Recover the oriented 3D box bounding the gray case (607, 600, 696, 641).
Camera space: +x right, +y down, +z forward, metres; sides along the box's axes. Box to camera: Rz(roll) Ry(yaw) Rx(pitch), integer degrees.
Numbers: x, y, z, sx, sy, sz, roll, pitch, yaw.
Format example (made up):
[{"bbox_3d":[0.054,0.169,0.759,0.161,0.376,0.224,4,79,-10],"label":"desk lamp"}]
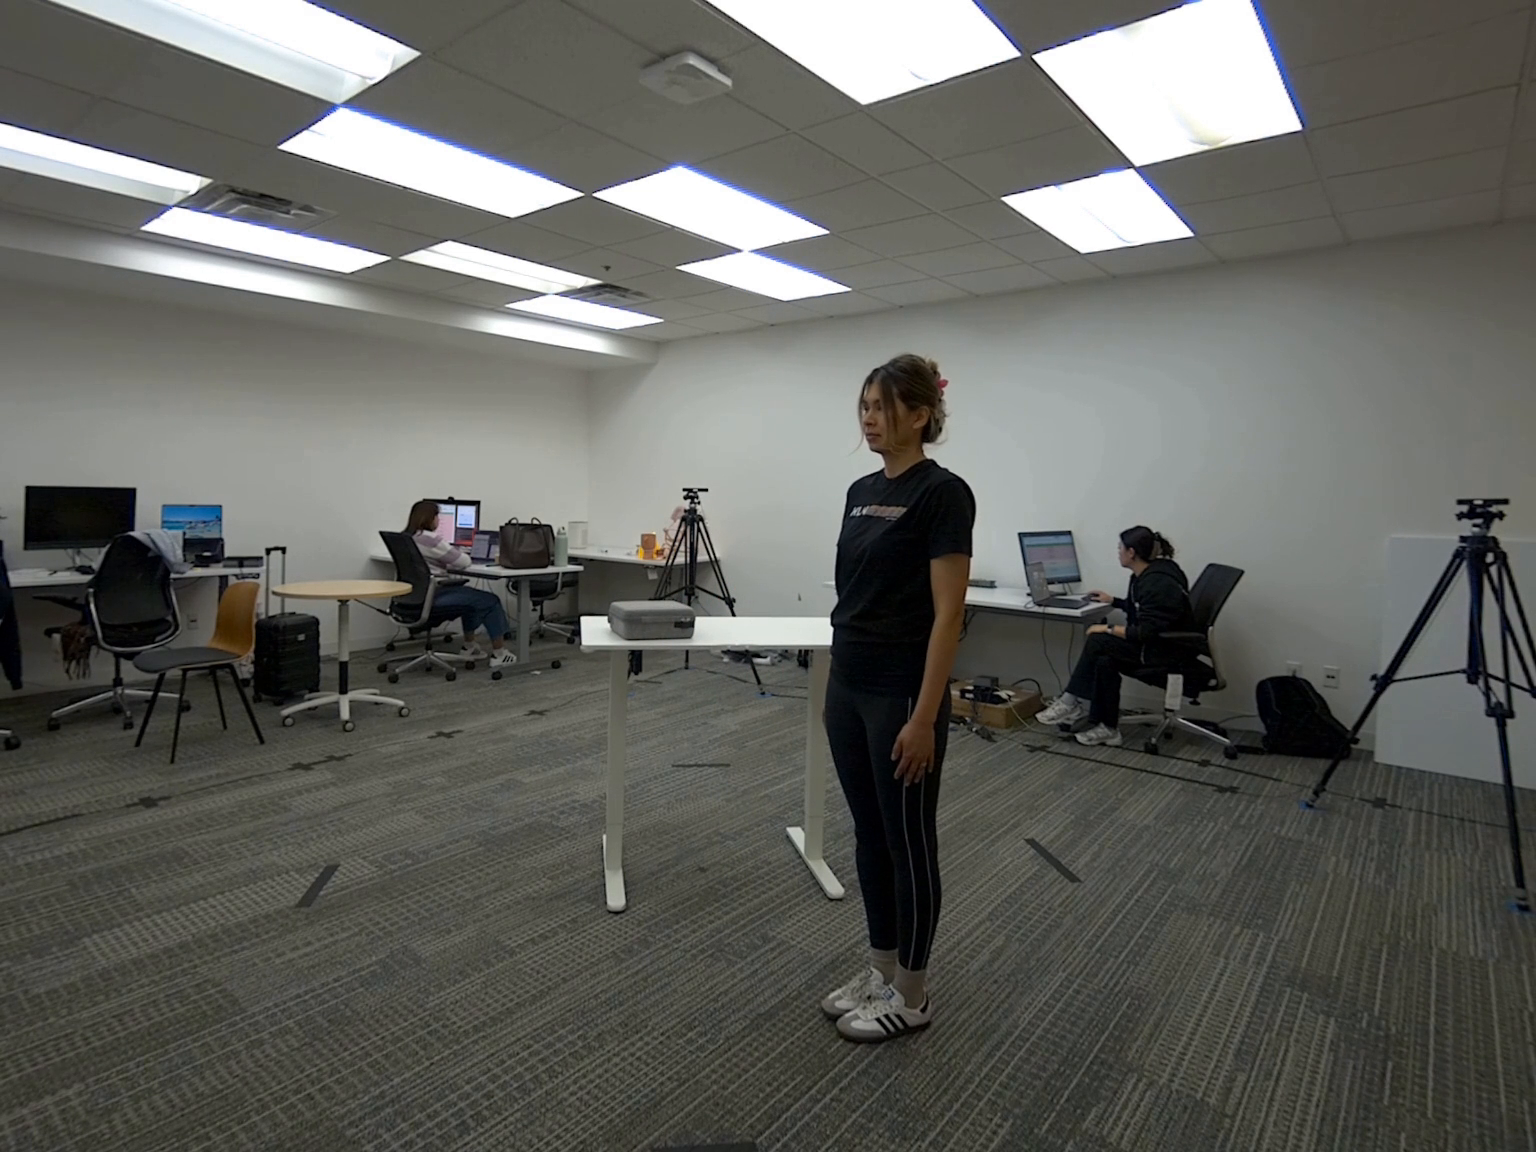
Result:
[{"bbox_3d":[-0.415,0.145,2.940,0.251,0.104,0.267,-1,5,-22],"label":"gray case"}]
